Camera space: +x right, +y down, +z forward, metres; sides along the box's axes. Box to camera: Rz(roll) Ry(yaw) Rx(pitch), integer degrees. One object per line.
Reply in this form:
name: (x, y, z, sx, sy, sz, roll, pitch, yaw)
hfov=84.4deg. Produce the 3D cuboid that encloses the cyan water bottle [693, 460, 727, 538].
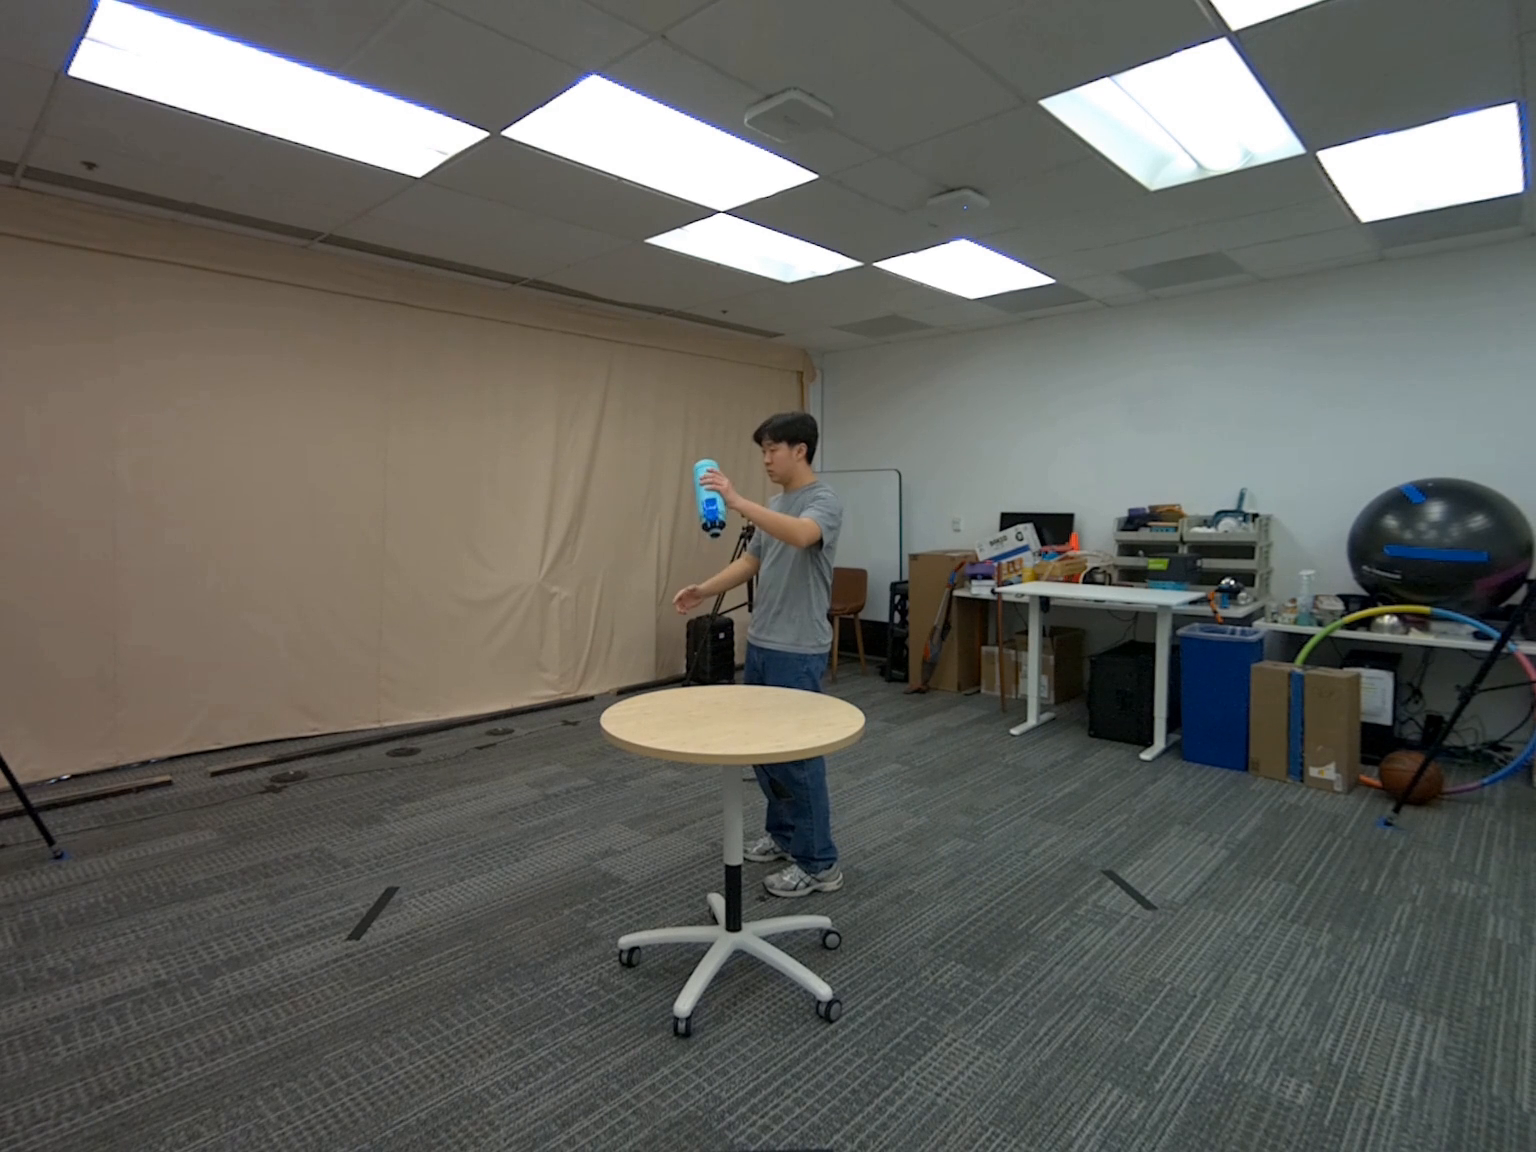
cyan water bottle: (-0.186, -0.234, 2.776, 0.092, 0.290, 0.091, -5, -36, -6)
